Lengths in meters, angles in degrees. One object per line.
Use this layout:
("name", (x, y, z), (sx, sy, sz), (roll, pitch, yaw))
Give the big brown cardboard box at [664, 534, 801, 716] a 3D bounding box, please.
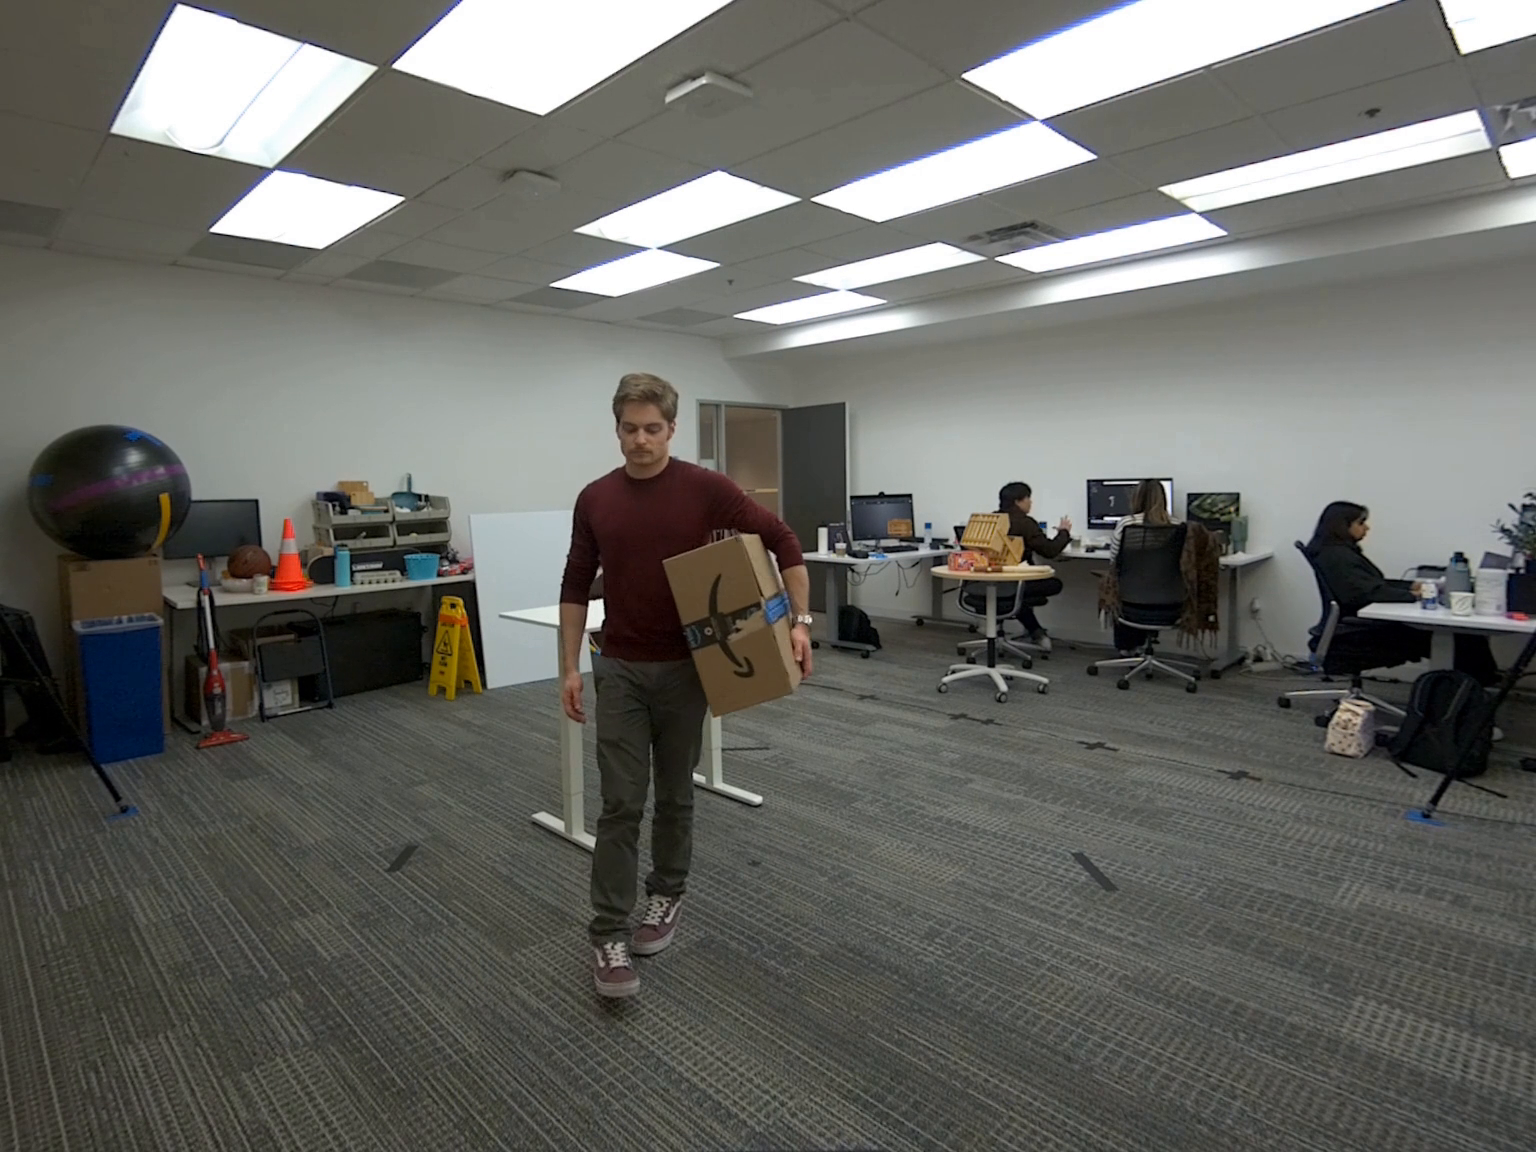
("big brown cardboard box", (-0.067, 0.114, 2.404), (0.234, 0.419, 0.583), (-19, -2, 9))
